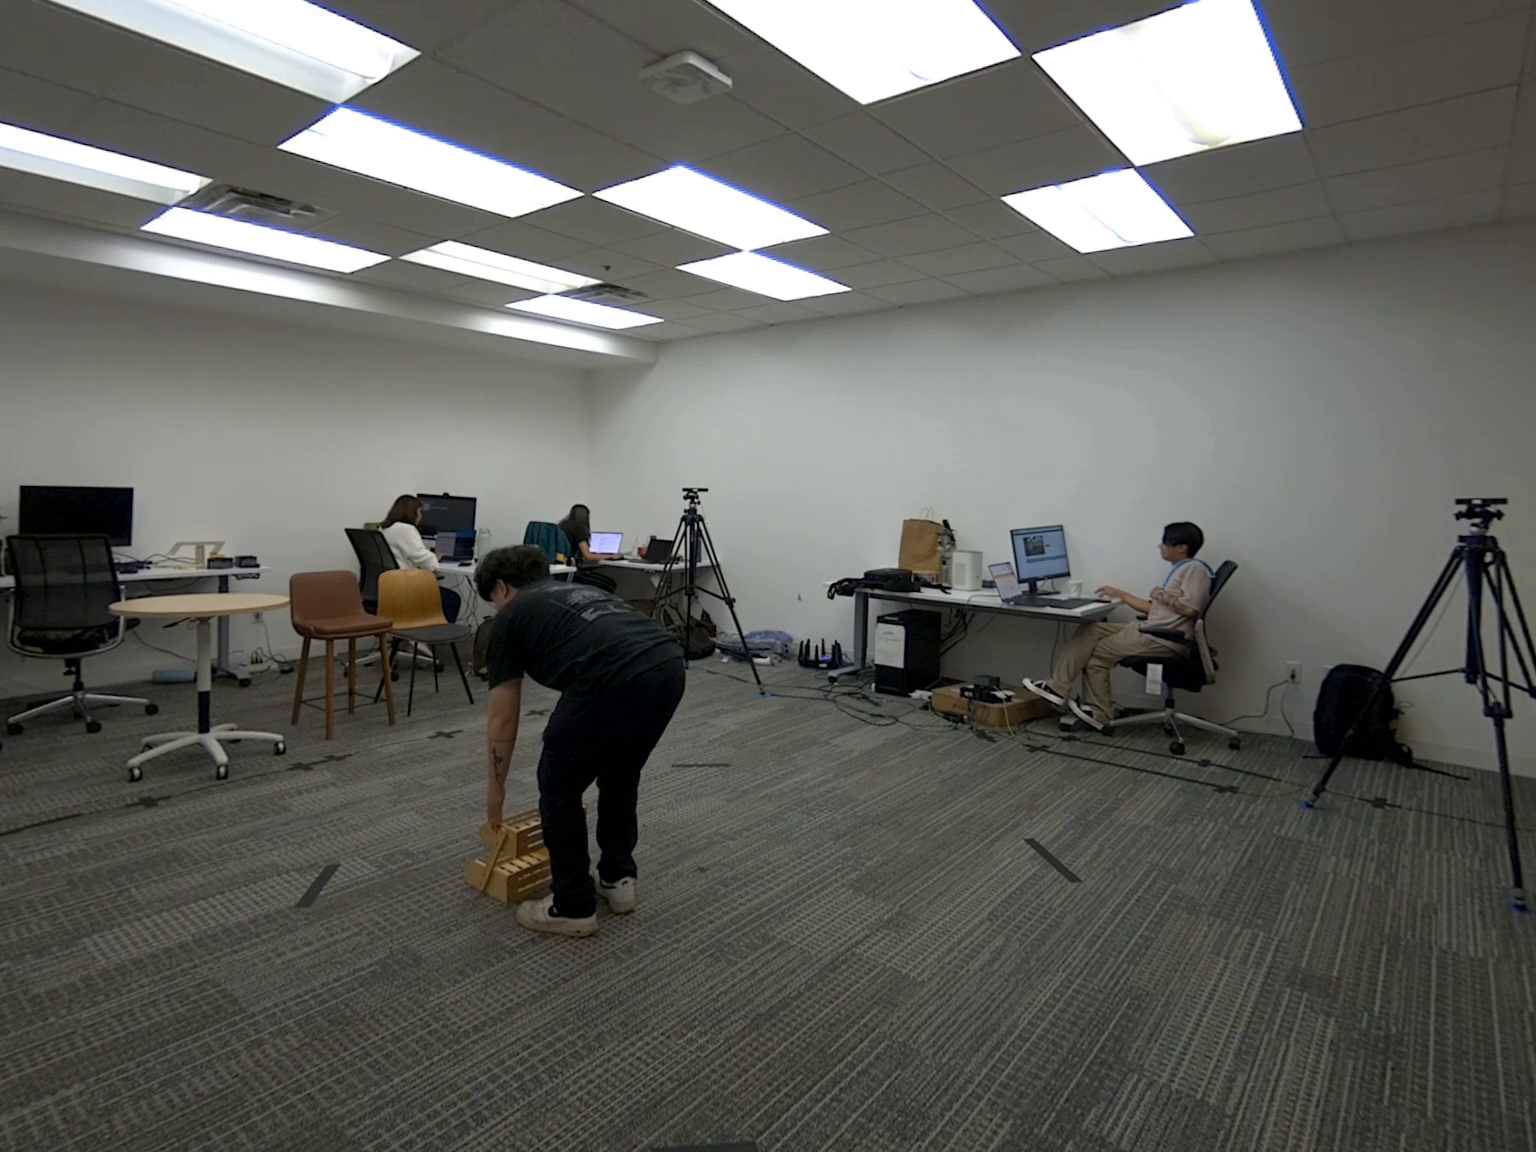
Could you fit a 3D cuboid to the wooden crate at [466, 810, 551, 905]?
[{"bbox_3d":[-0.870,0.934,2.998,0.312,0.272,0.315,6,7,37],"label":"wooden crate"}]
